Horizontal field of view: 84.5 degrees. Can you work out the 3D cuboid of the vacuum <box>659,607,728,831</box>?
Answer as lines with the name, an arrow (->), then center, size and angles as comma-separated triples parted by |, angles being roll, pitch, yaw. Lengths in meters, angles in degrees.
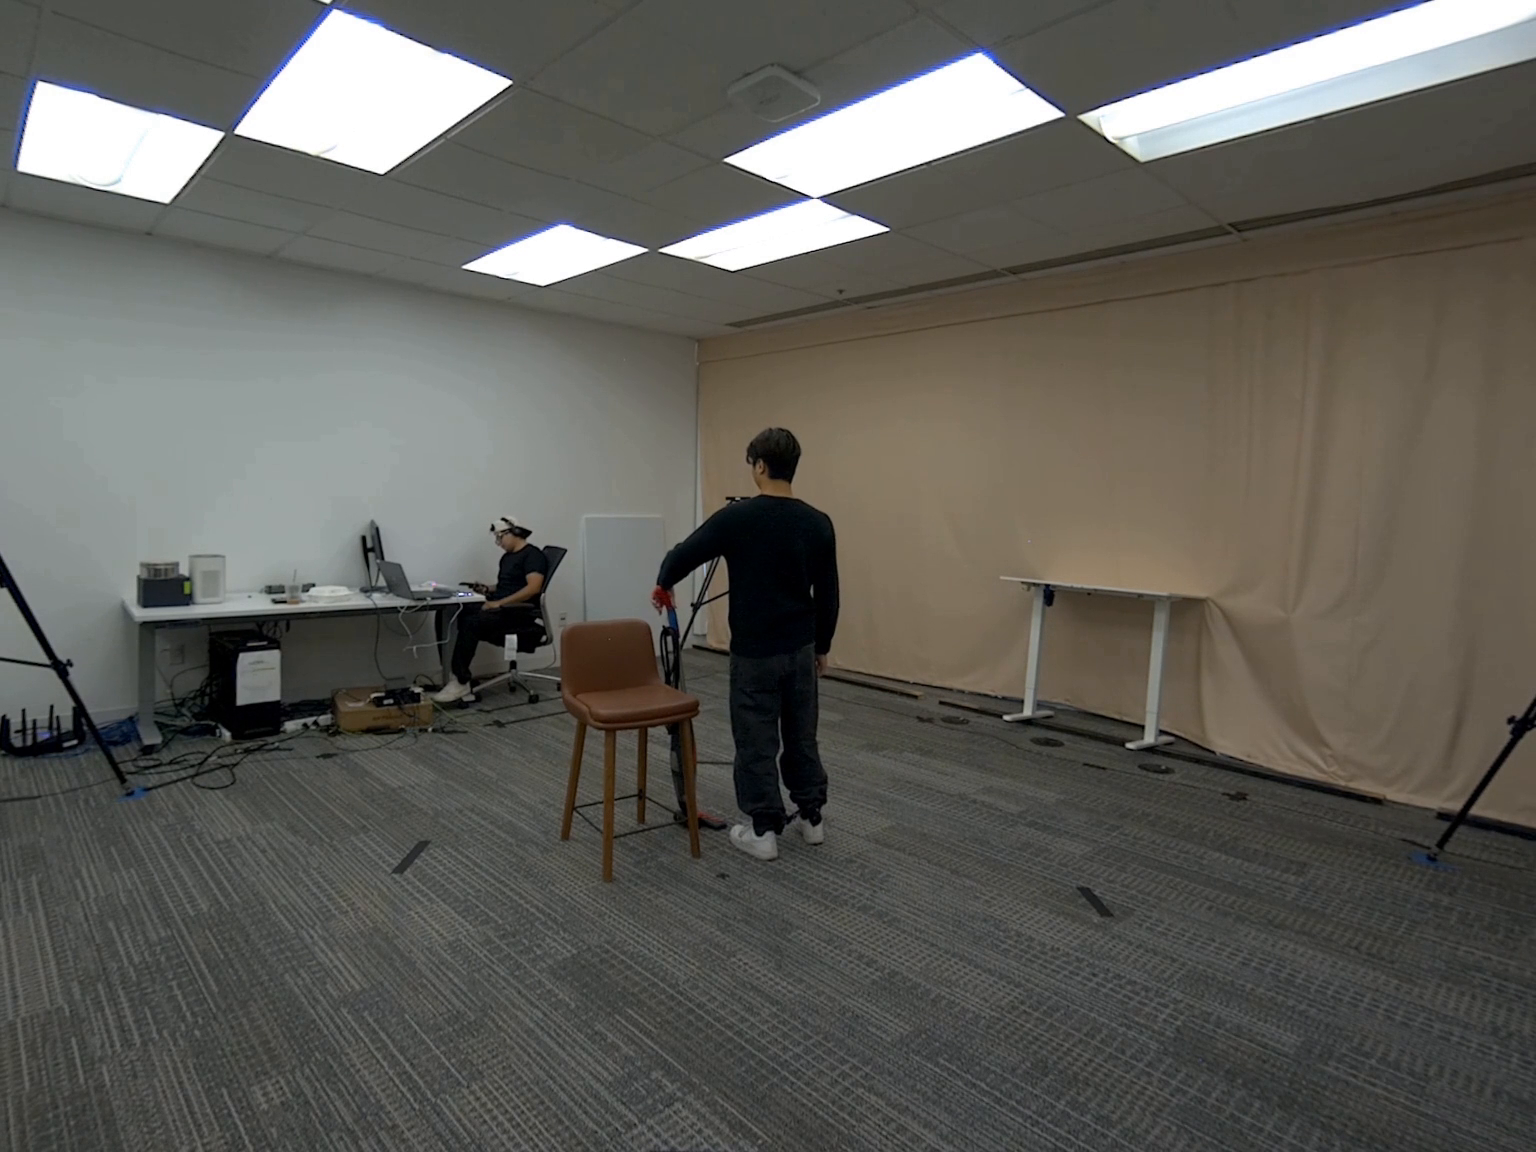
vacuum -> -0.391, 0.554, 3.517 | 0.259, 1.039, 0.142 | 4, 16, 44
